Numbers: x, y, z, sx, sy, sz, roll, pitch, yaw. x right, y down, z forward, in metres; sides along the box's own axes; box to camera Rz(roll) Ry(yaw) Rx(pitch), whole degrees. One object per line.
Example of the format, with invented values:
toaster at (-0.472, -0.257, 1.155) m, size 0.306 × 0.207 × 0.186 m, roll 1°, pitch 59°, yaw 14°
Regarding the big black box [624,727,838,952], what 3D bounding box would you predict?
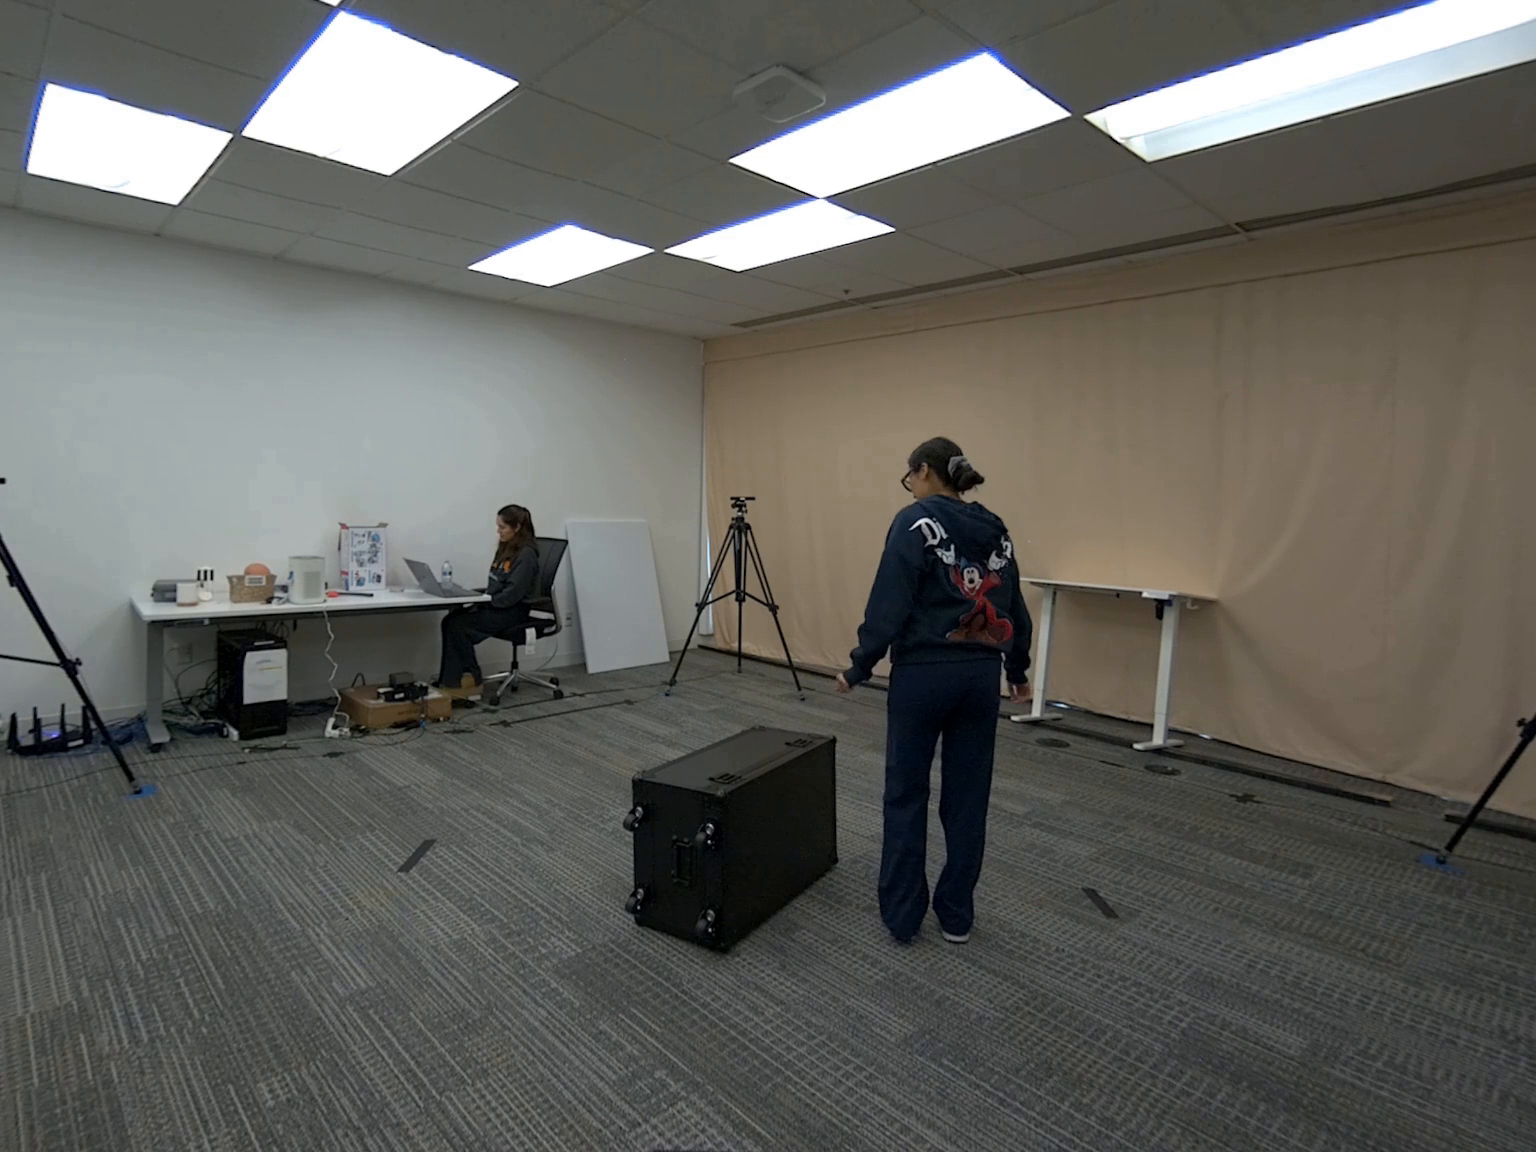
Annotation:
big black box at (-0.118, 0.867, 2.940) m, size 0.404 × 0.520 × 0.845 m, roll 0°, pitch 3°, yaw 30°
